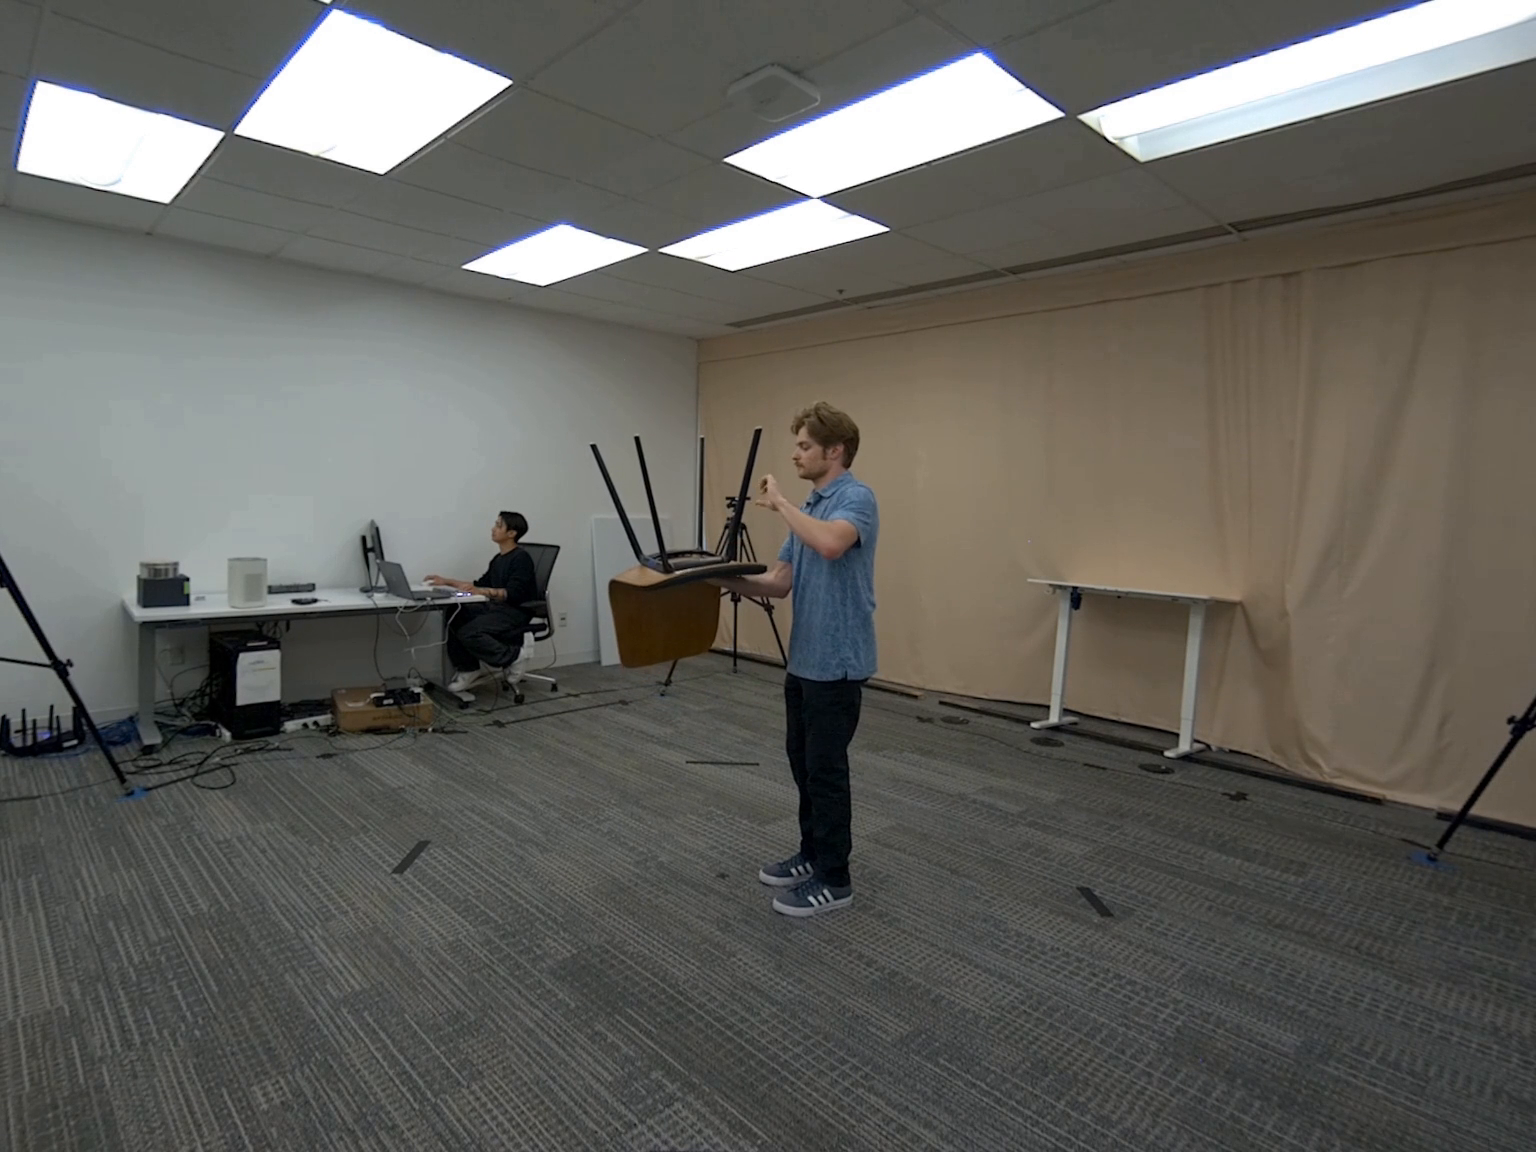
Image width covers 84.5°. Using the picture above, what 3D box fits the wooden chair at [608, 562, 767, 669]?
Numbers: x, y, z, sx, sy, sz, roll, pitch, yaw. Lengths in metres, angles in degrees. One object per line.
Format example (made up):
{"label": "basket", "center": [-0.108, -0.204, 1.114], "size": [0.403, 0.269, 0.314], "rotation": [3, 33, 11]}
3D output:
{"label": "wooden chair", "center": [-0.297, -0.053, 2.917], "size": [0.470, 0.871, 0.536], "rotation": [-7, 10, -29]}
